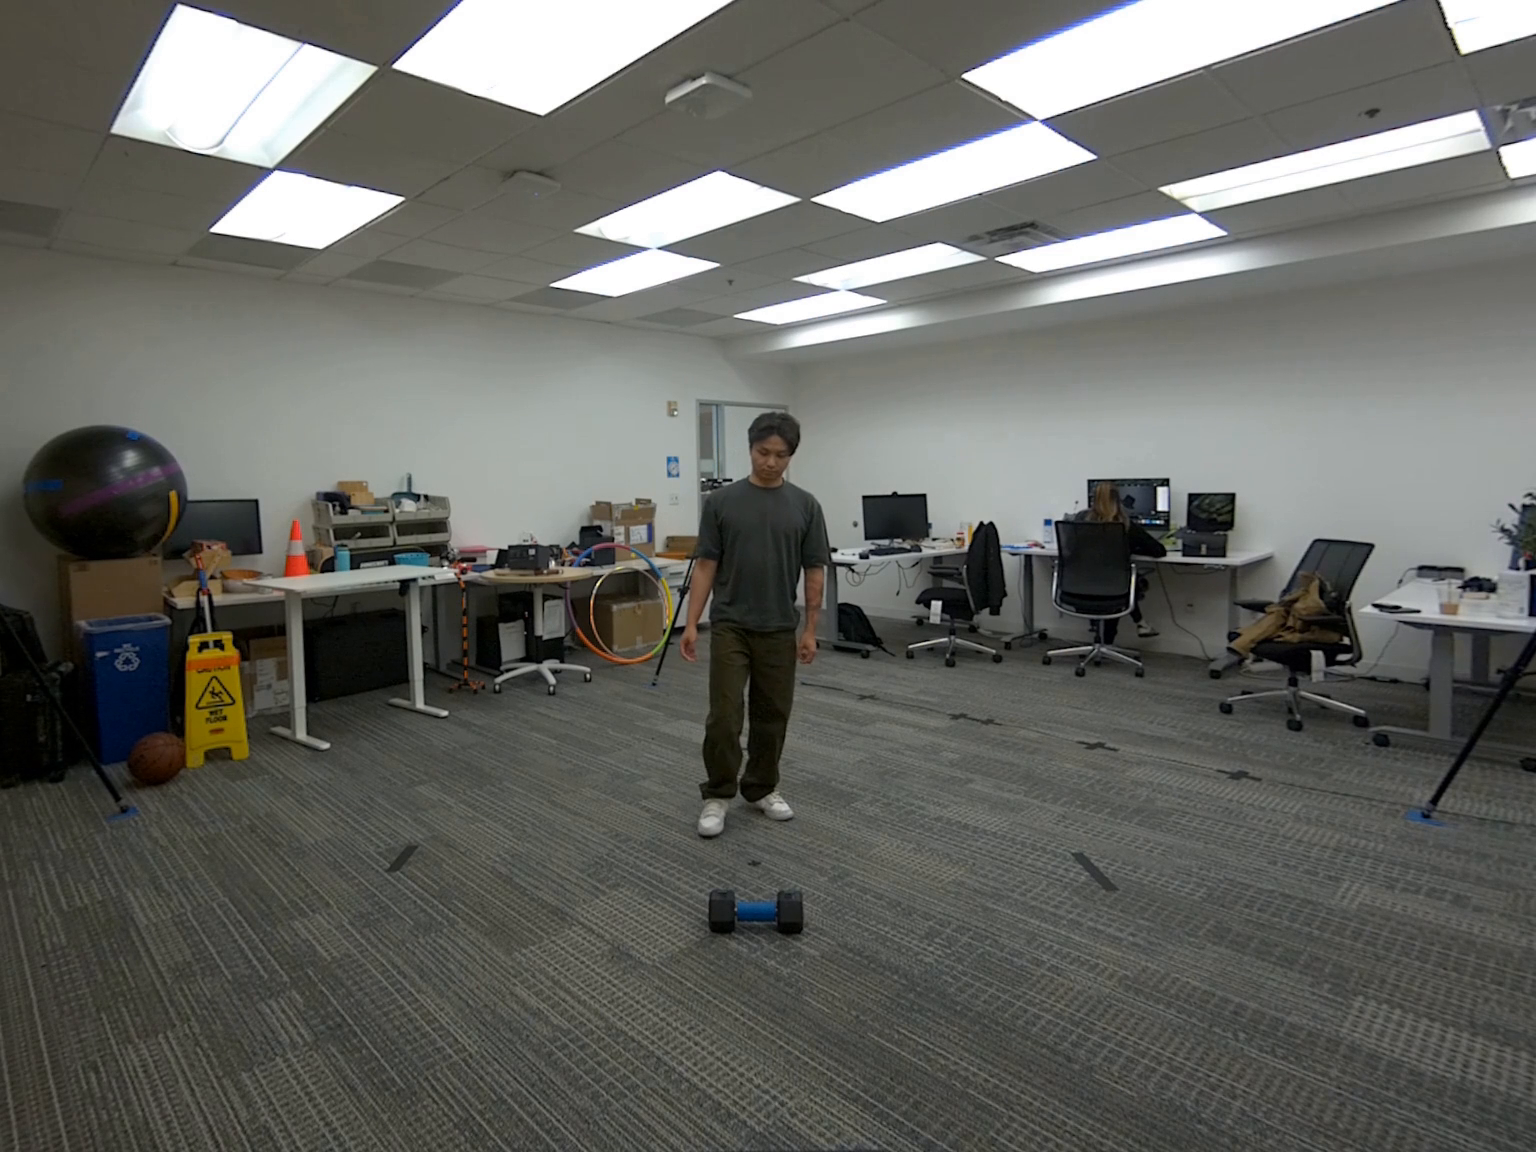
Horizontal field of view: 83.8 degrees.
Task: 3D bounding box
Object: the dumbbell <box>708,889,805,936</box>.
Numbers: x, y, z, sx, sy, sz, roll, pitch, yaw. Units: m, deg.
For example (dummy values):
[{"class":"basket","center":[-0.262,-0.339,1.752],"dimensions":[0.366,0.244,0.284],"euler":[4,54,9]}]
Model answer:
[{"class":"dumbbell","center":[-0.035,1.048,2.659],"dimensions":[0.294,0.125,0.106],"euler":[-1,-26,3]}]
